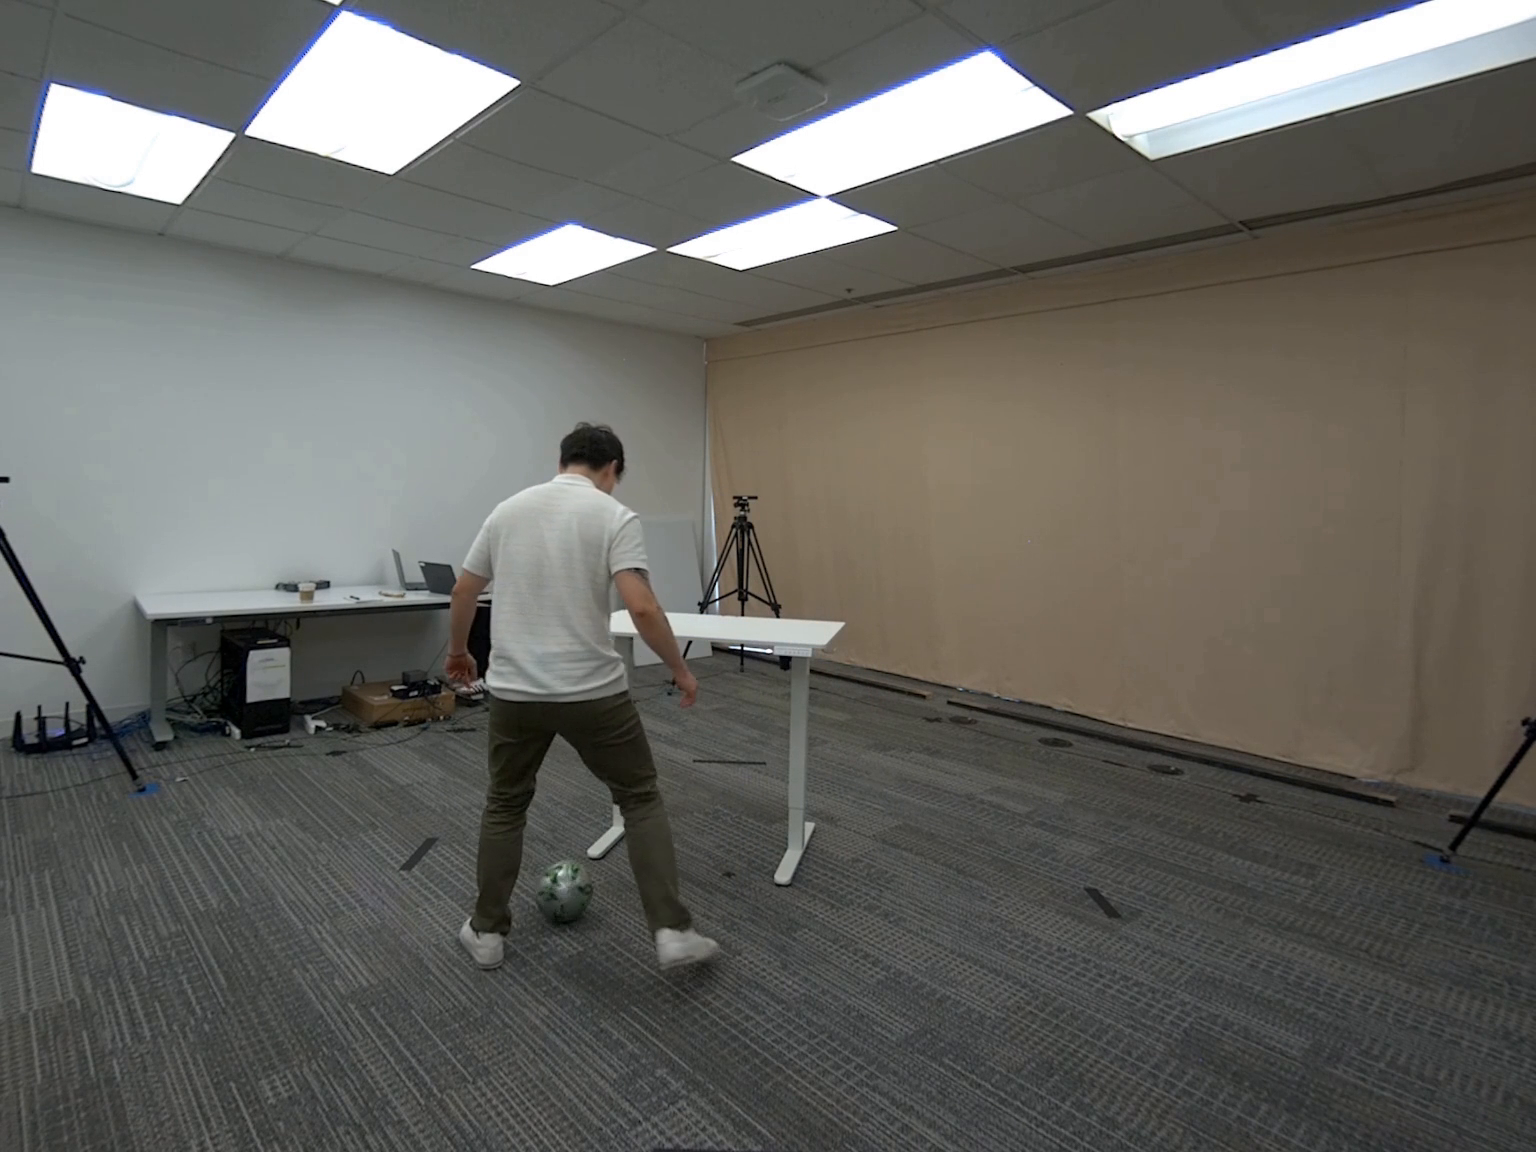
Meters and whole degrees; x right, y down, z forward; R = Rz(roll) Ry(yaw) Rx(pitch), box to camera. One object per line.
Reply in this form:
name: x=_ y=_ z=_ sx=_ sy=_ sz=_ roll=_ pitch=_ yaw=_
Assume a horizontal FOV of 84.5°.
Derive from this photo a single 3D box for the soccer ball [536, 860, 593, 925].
soccer ball: x=-0.676 y=1.031 z=2.746 sx=0.187 sy=0.187 sz=0.188 roll=1 pitch=4 yaw=-1
